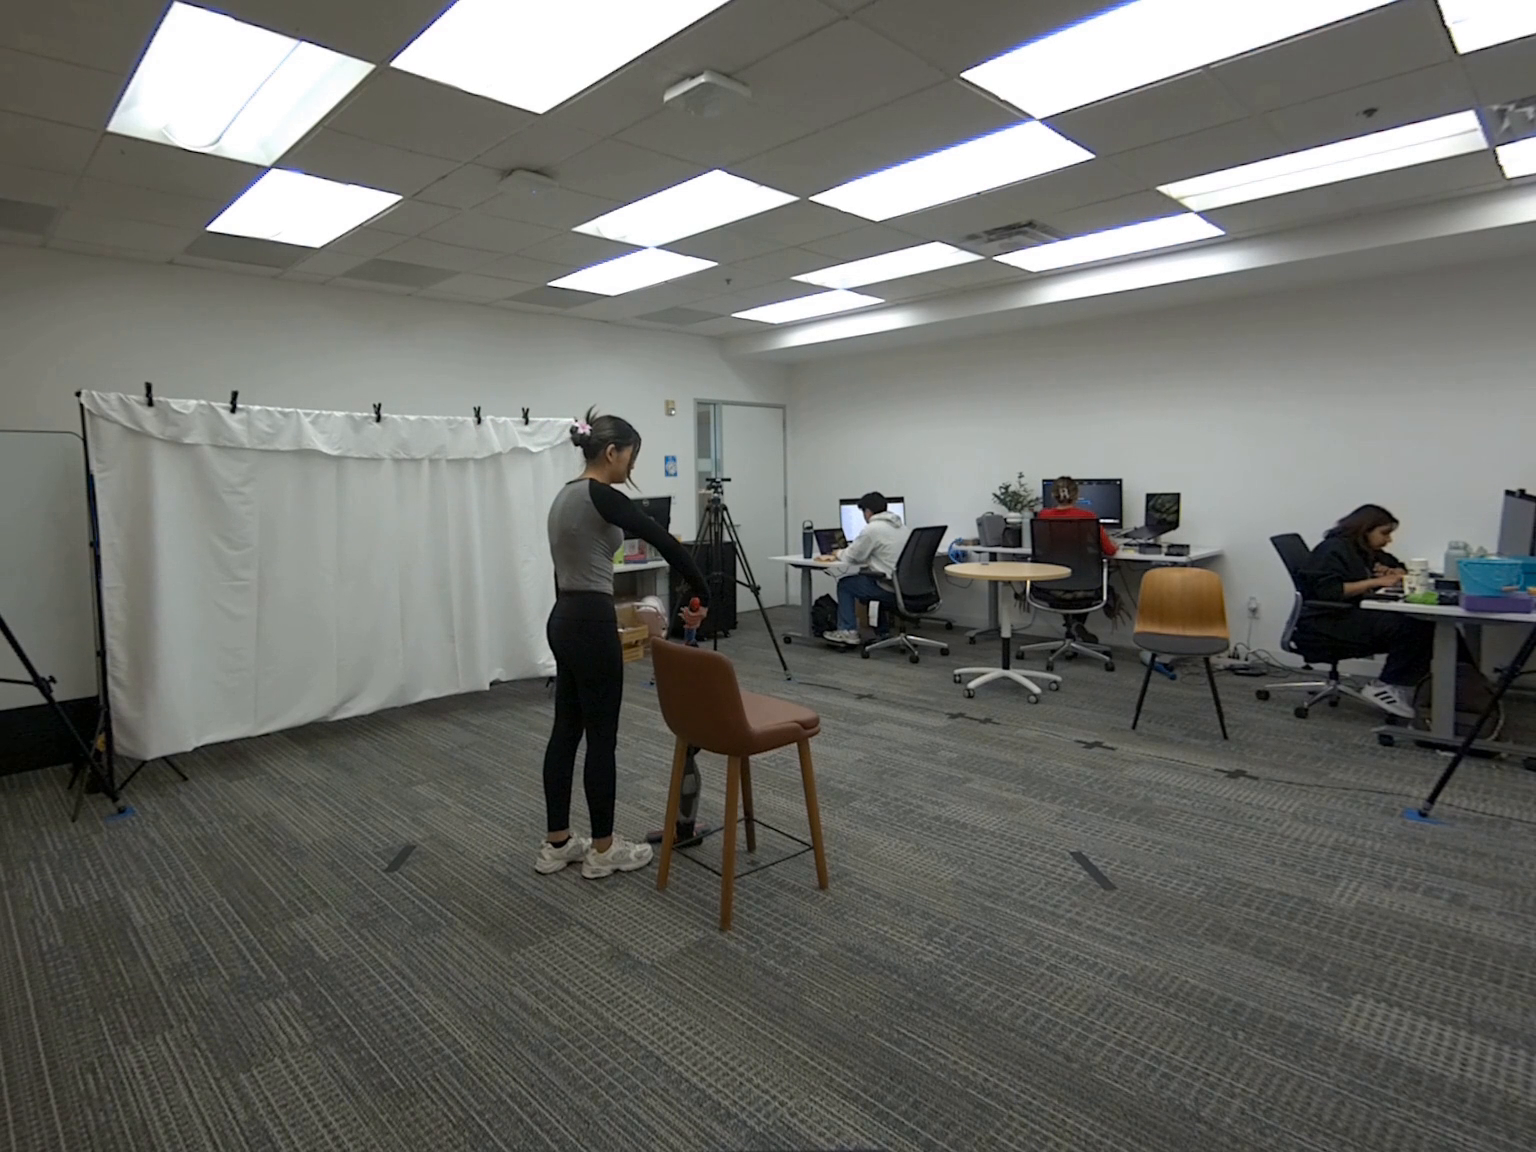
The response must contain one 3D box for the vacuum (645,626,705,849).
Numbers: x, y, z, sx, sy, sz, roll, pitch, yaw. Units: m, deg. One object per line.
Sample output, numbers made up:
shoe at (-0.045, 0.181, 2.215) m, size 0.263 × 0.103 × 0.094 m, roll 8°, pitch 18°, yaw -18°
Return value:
vacuum at (-0.278, 0.557, 3.108) m, size 0.248 × 1.031 × 0.149 m, roll -2°, pitch 26°, yaw -21°
